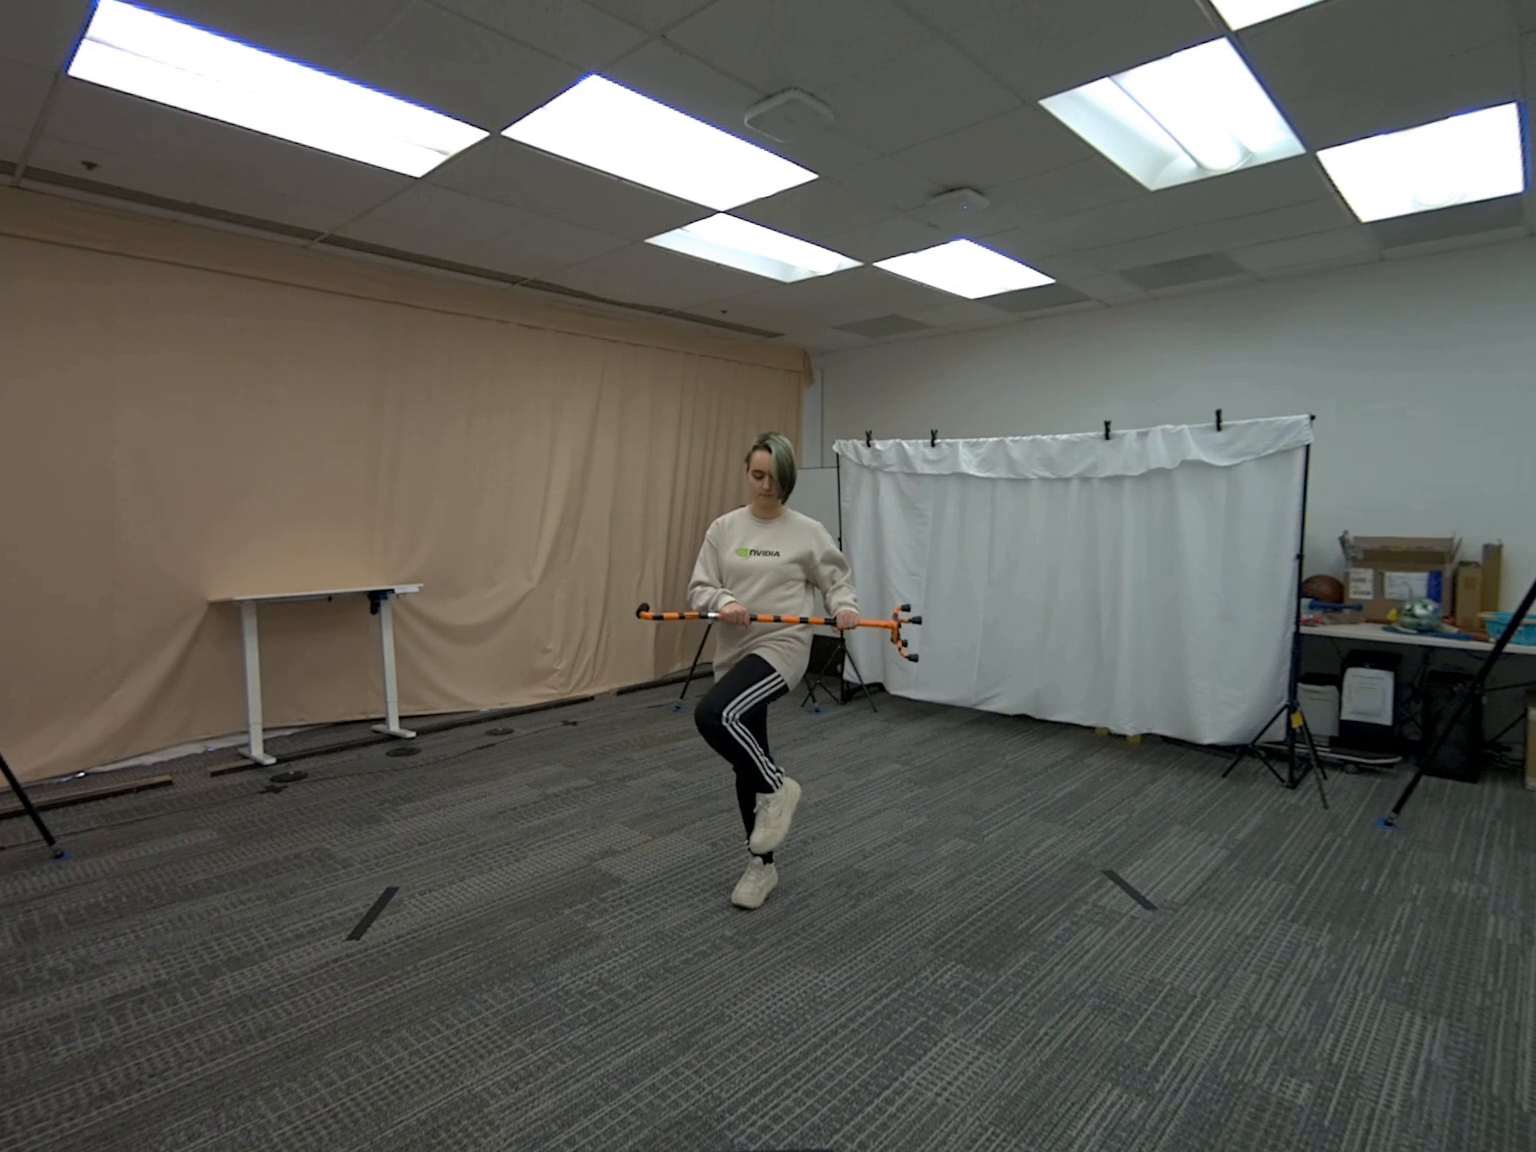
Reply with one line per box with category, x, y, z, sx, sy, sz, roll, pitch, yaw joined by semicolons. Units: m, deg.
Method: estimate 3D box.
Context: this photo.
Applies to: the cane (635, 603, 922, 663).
cane;0.019;0.165;2.734;0.910;0.151;0.207;3;10;2
